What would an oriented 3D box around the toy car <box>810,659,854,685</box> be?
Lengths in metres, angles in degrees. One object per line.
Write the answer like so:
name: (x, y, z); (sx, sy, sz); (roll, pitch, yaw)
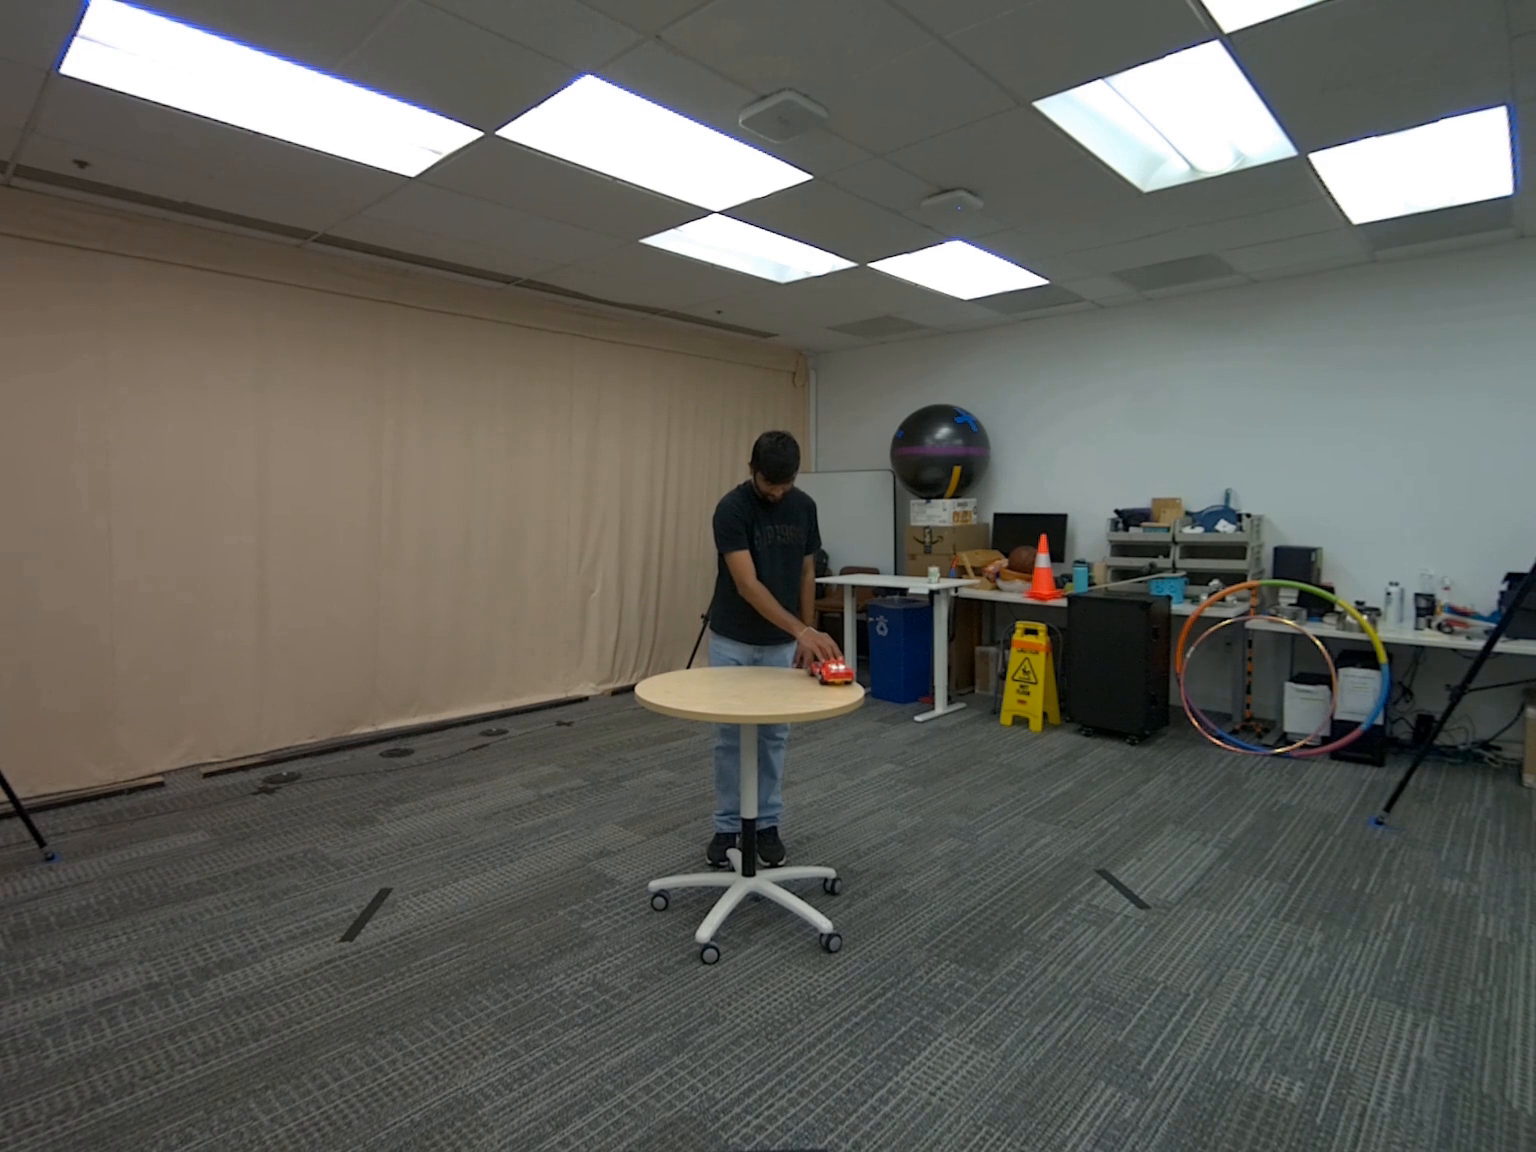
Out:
toy car: (0.220, 0.334, 2.935); (0.129, 0.083, 0.256); (-1, -7, -11)
